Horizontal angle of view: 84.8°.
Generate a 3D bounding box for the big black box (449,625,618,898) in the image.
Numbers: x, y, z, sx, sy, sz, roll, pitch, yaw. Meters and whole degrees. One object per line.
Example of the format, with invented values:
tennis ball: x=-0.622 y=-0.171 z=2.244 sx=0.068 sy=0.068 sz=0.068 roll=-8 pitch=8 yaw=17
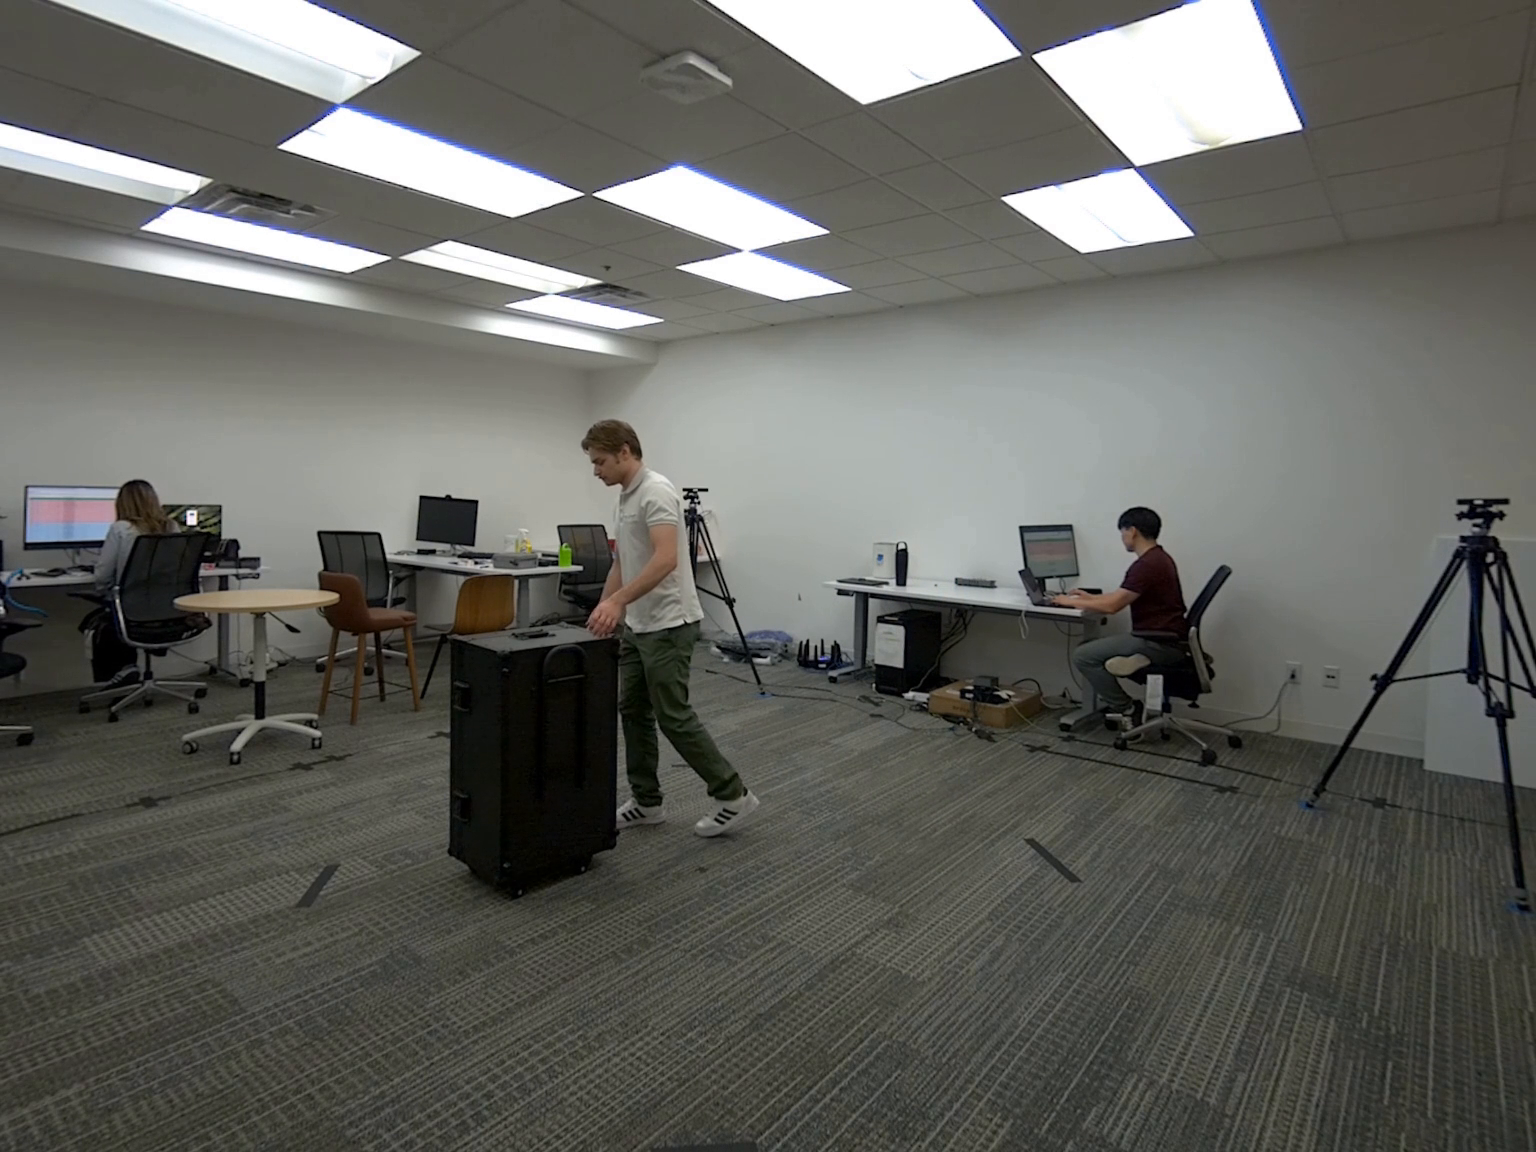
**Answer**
big black box: x=-0.847 y=0.642 z=3.047 sx=0.410 sy=0.859 sz=0.505 roll=5 pitch=5 yaw=44
